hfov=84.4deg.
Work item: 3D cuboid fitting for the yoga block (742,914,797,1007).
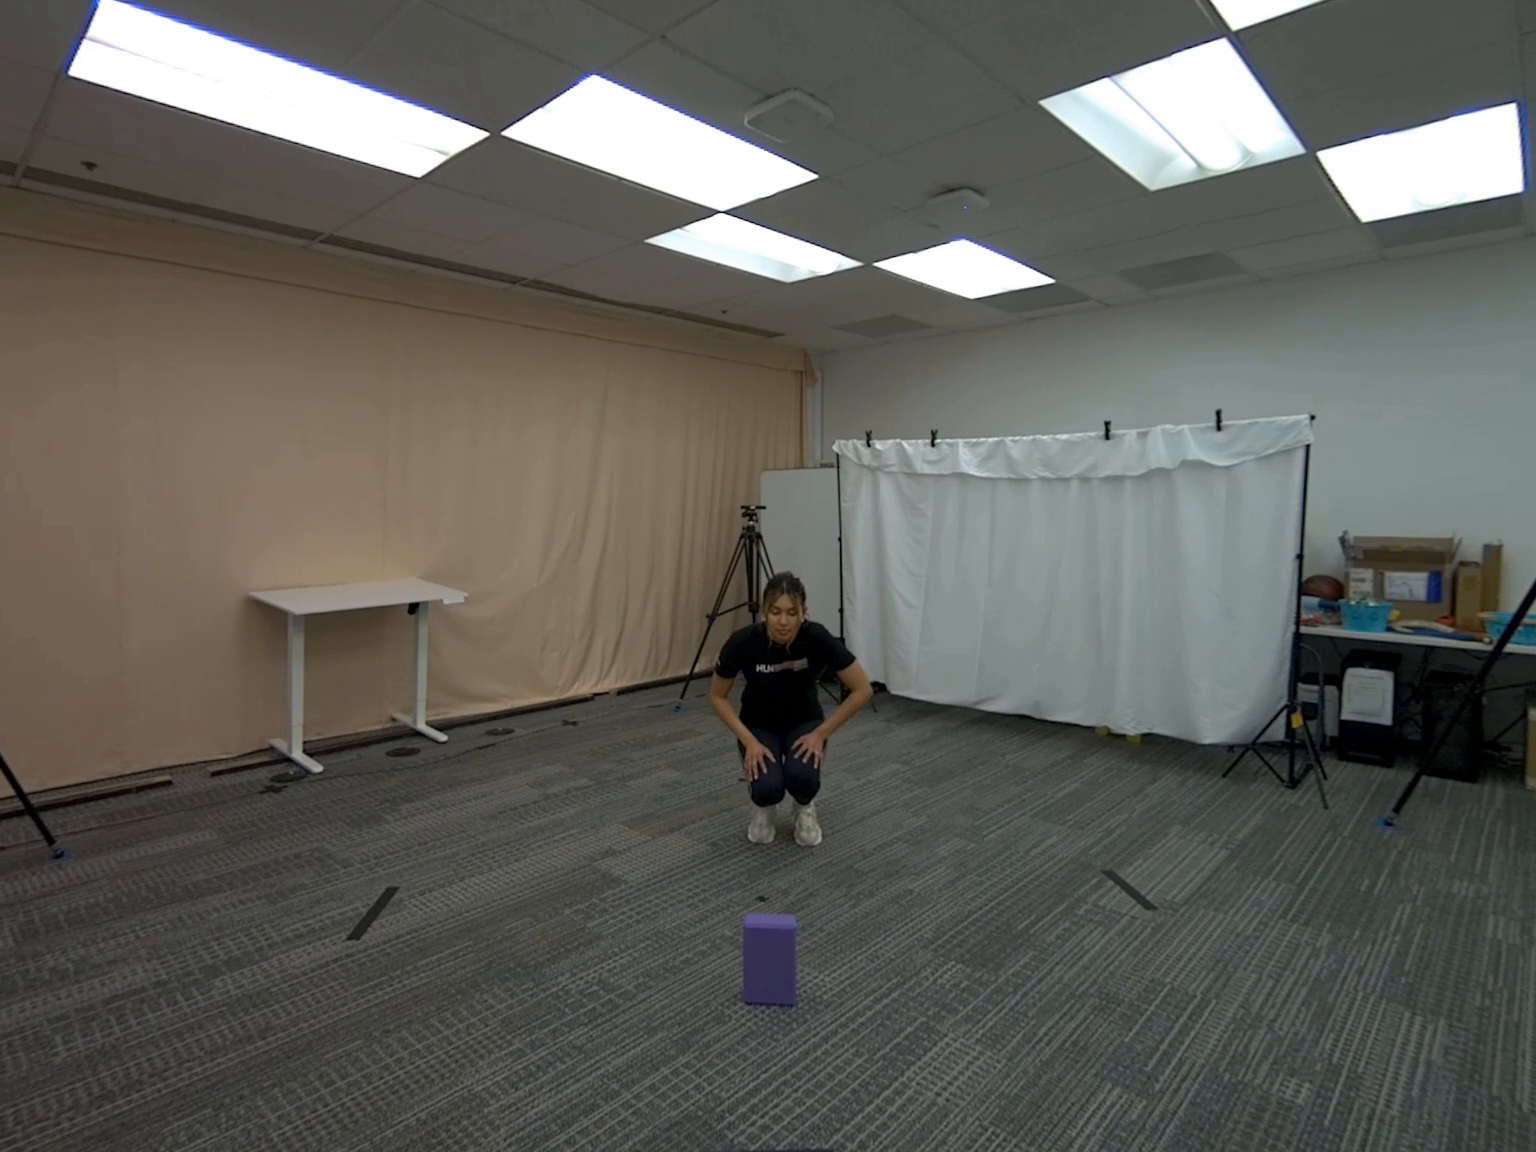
[{"bbox_3d":[0.008,1.075,2.374,0.150,0.229,0.076,2,4,4],"label":"yoga block"}]
